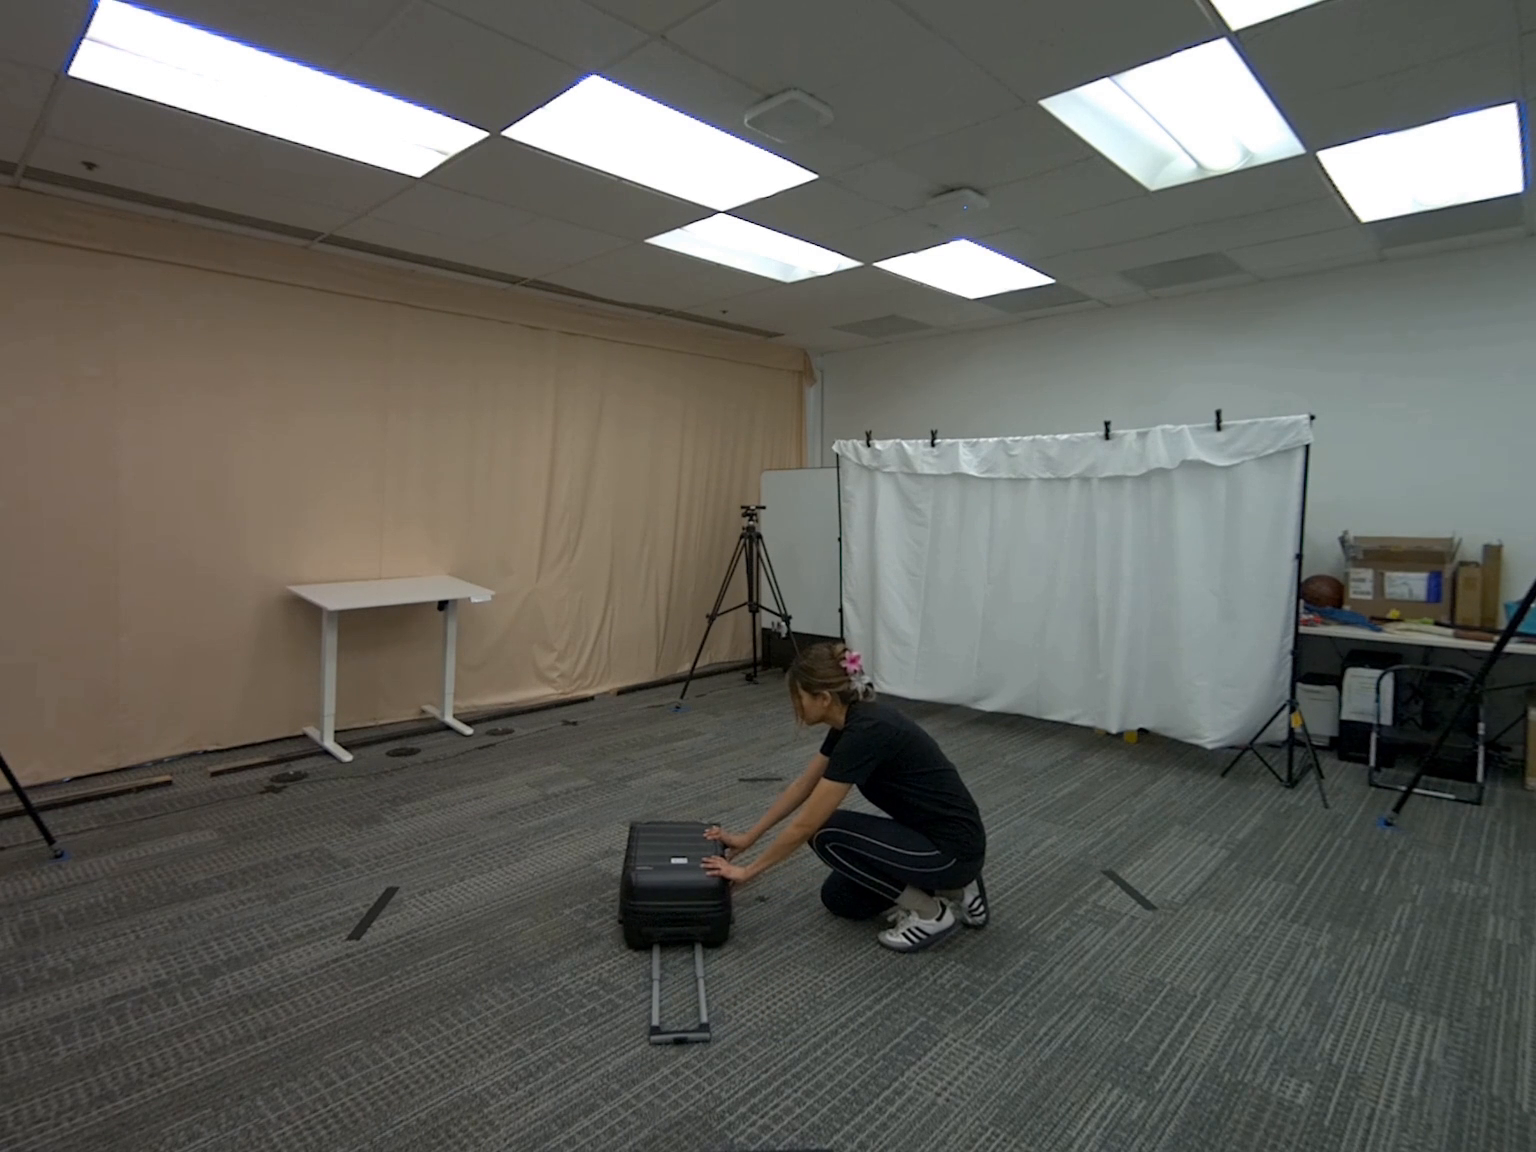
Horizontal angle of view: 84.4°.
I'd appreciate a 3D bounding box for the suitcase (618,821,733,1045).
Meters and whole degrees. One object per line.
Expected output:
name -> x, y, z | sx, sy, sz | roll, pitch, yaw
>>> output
suitcase -> -0.291, 1.050, 2.666 | 0.382, 0.257, 0.985 | 1, 3, -6
